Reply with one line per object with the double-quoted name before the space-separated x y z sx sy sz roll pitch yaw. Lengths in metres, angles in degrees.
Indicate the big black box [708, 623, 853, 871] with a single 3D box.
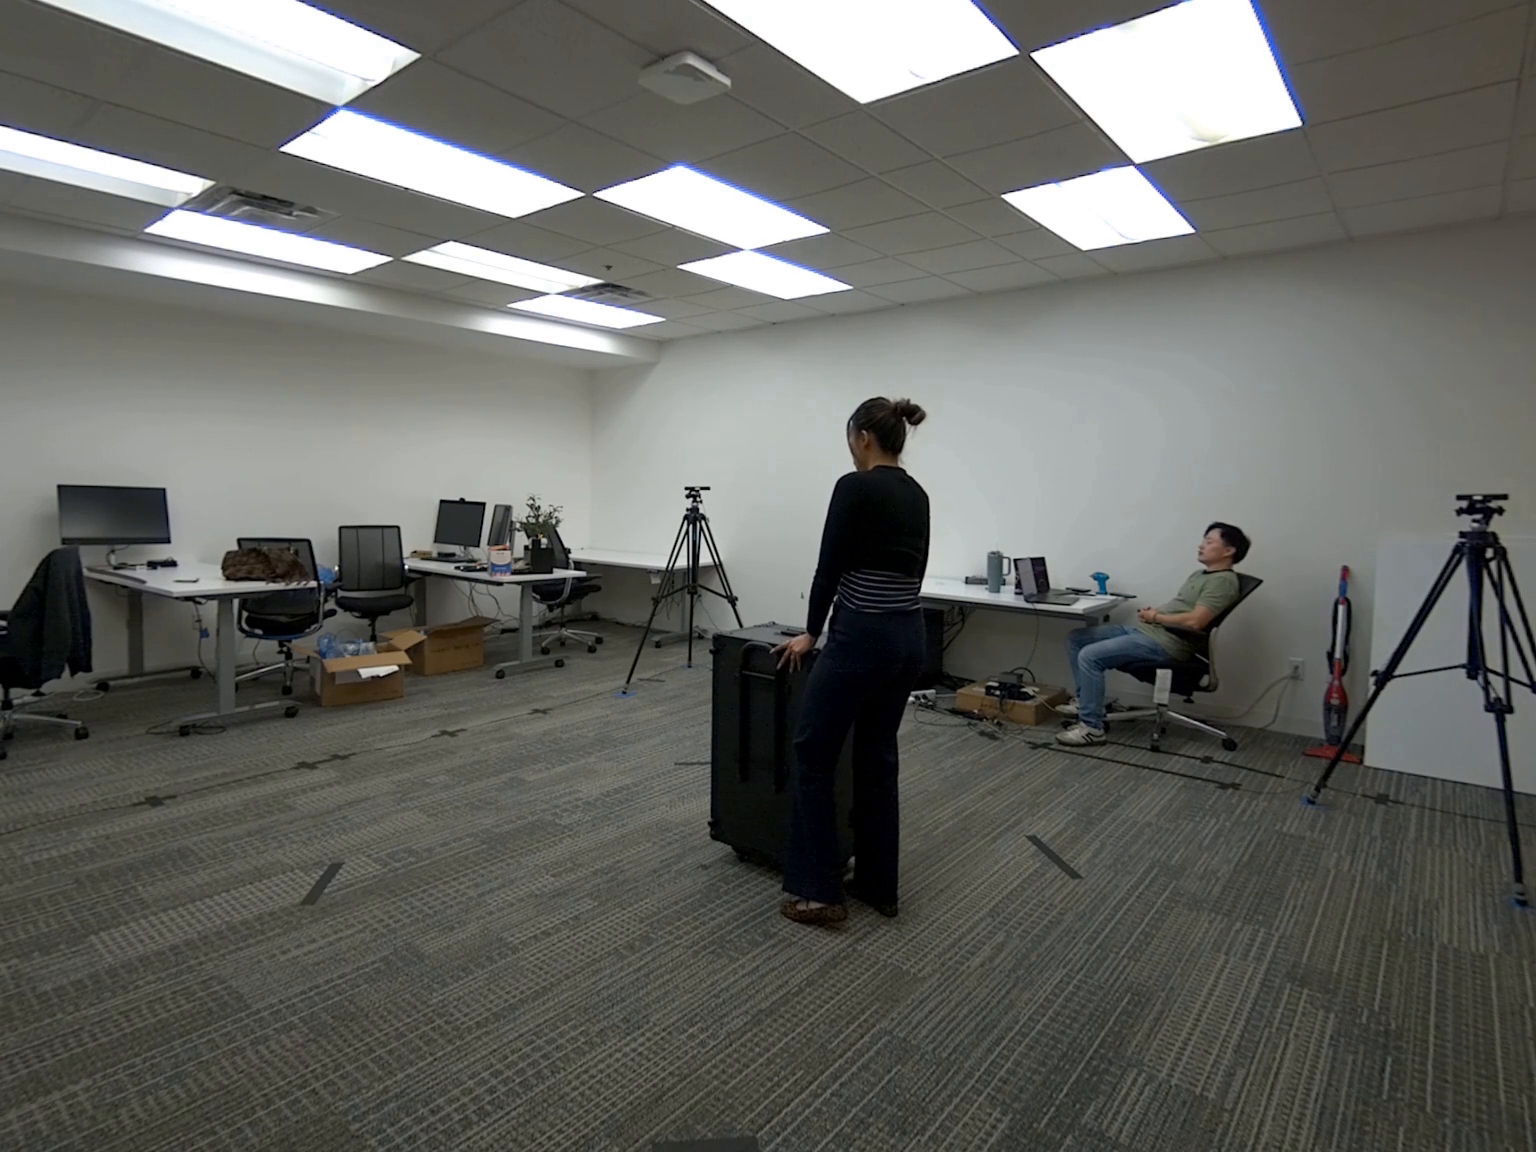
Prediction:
"big black box" 0.053 0.585 3.155 0.539 0.859 0.384 4 5 41
